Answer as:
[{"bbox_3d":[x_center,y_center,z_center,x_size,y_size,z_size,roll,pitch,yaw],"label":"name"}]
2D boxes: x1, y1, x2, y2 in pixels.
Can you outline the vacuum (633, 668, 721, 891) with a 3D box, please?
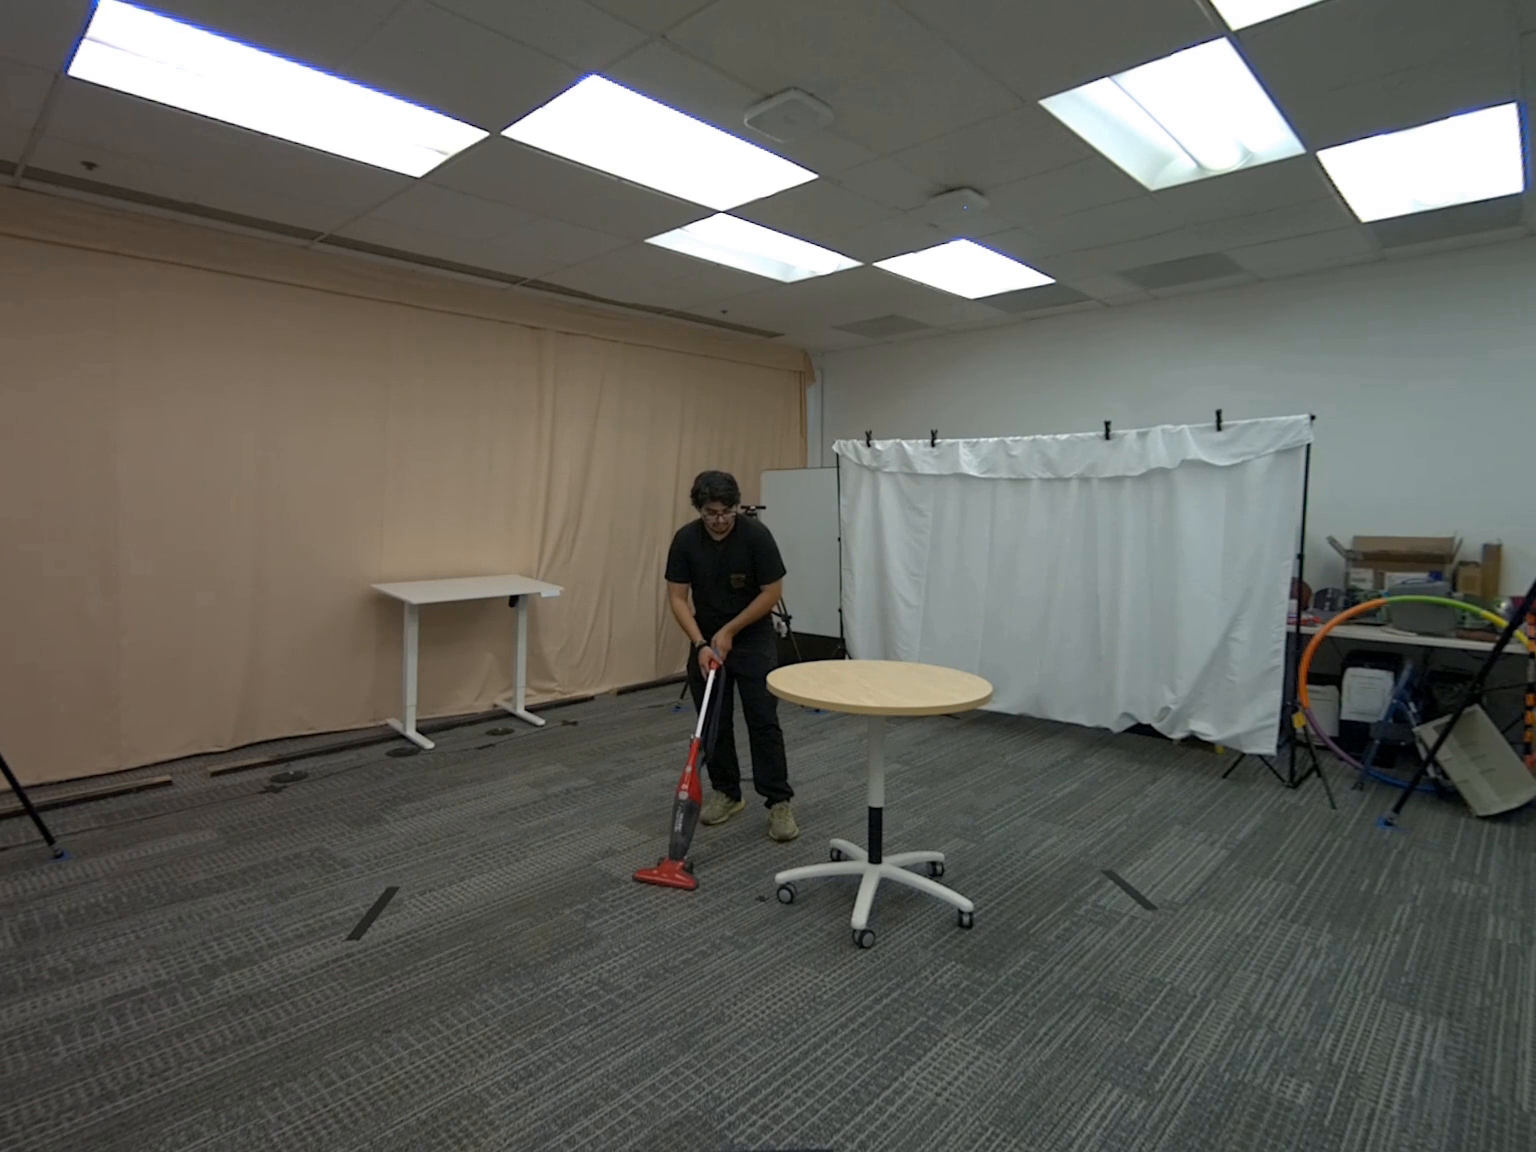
[{"bbox_3d":[-0.271,0.668,3.406,0.256,1.059,0.140,6,-31,12],"label":"vacuum"}]
